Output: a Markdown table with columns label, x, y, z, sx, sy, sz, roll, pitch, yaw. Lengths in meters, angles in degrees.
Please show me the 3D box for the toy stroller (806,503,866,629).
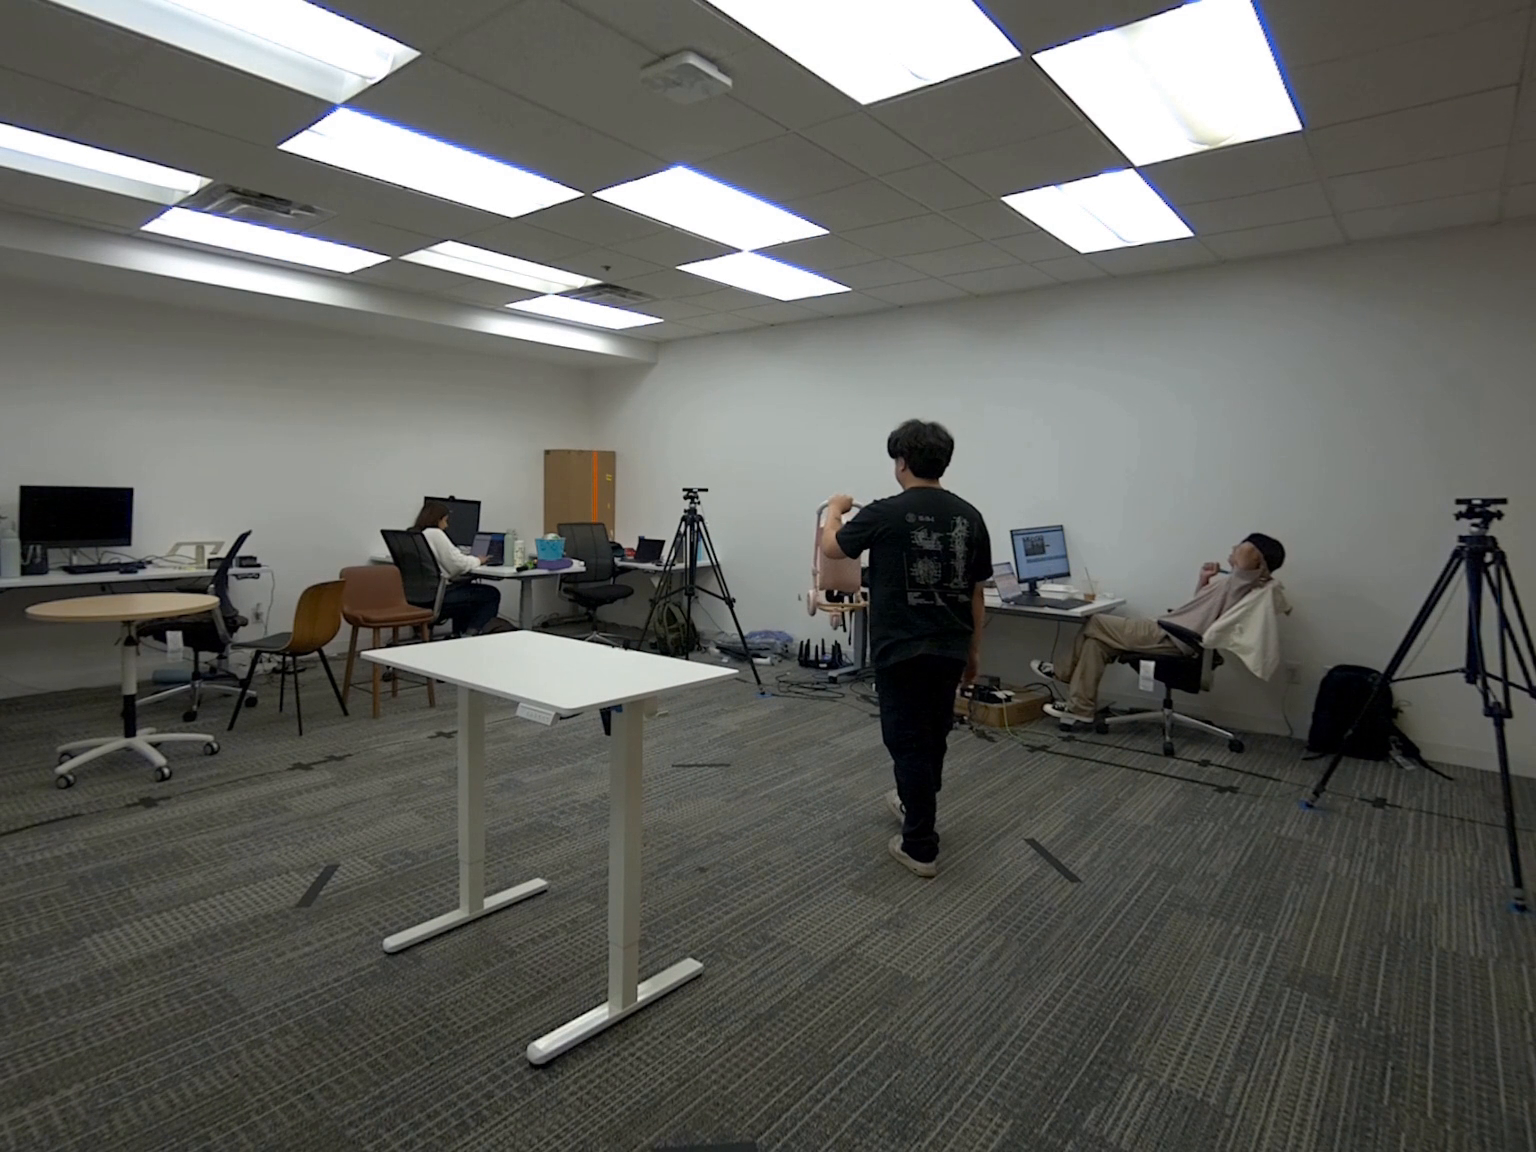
| label | x | y | z | sx | sy | sz | roll | pitch | yaw |
| --- | --- | --- | --- | --- | --- | --- | --- | --- | --- |
| toy stroller | 0.299 | -0.038 | 3.681 | 0.283 | 0.538 | 0.337 | 0 | -6 | 3 |
